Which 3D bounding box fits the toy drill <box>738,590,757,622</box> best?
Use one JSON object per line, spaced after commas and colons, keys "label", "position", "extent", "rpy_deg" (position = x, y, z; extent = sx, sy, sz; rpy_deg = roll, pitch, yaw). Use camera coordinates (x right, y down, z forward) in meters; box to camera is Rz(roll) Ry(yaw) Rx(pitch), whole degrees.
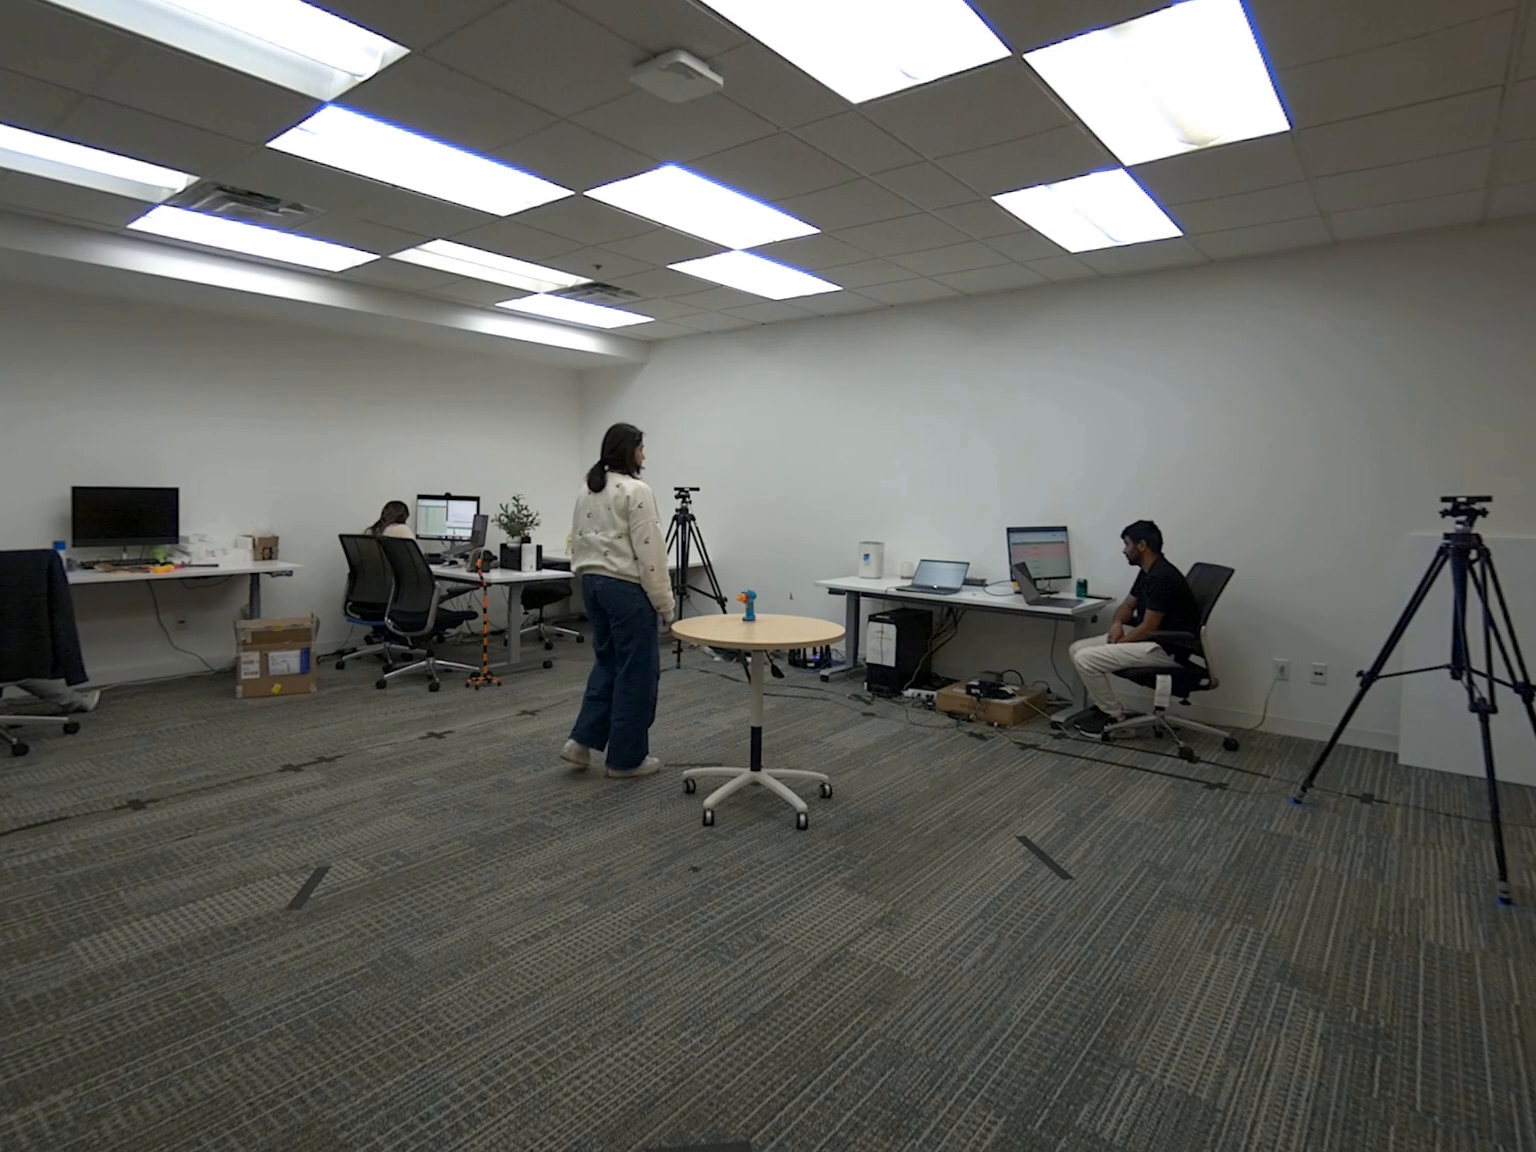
{"label": "toy drill", "position": [-0.108, 0.132, 3.918], "extent": [0.063, 0.145, 0.166], "rpy_deg": [4, 5, 22]}
